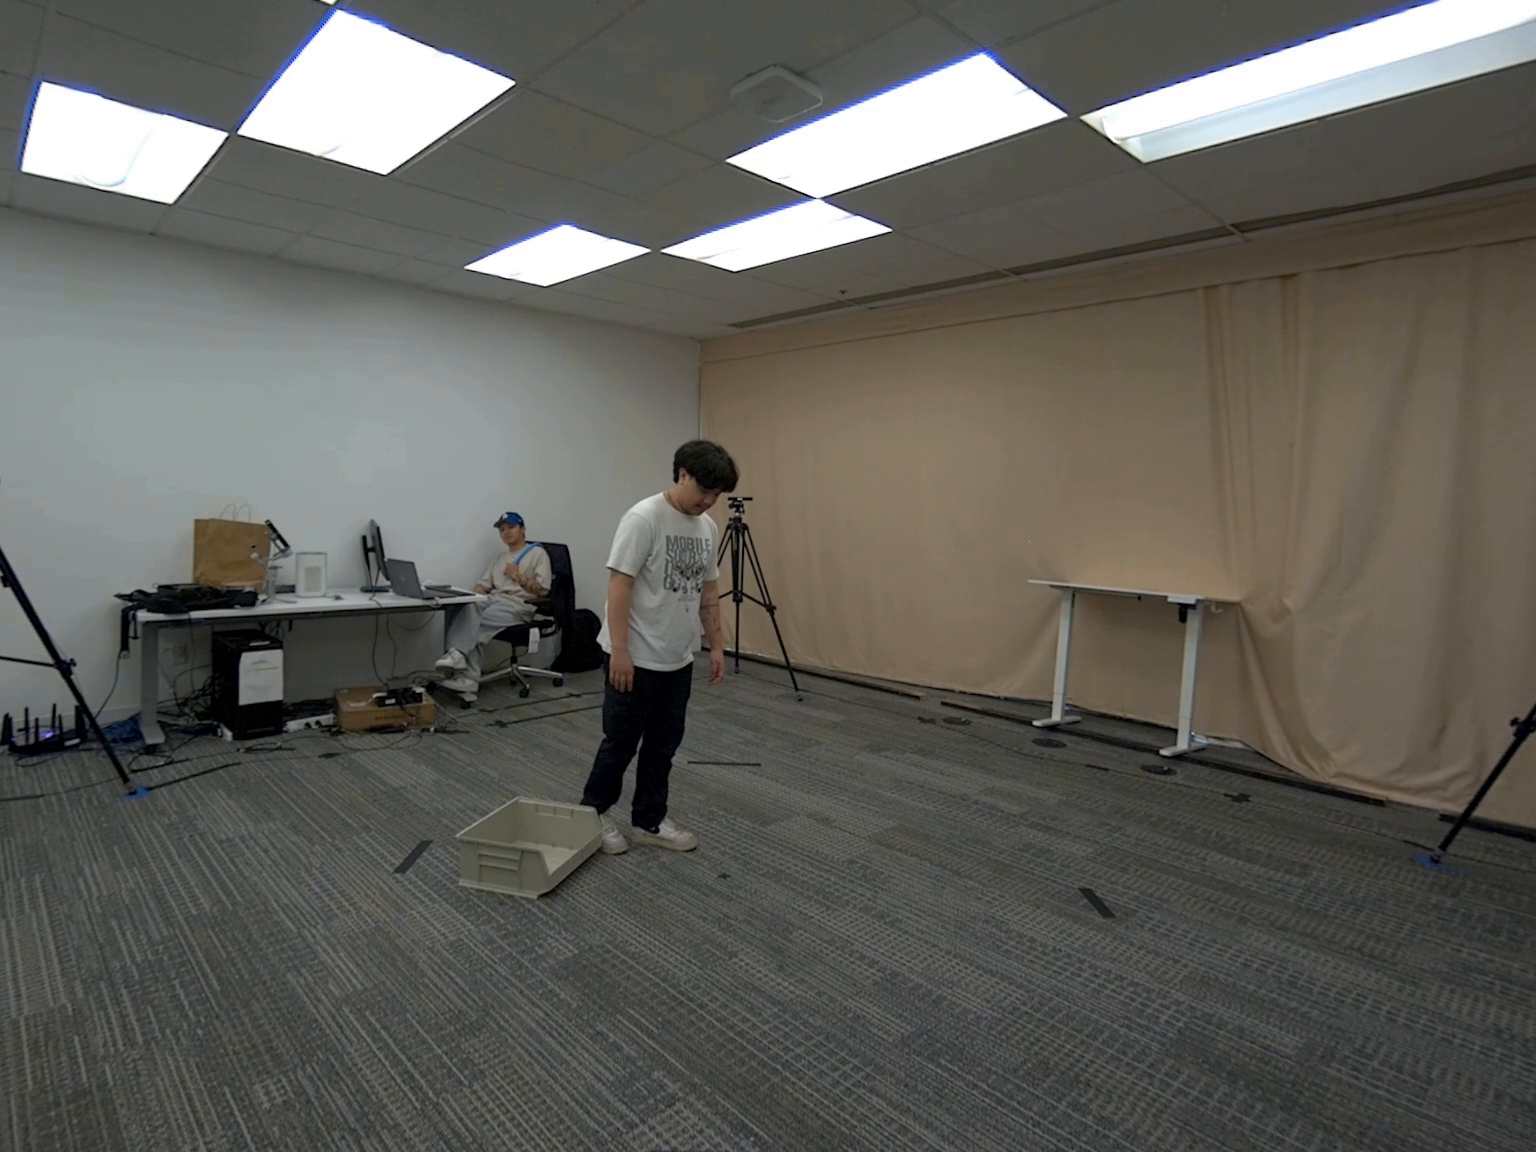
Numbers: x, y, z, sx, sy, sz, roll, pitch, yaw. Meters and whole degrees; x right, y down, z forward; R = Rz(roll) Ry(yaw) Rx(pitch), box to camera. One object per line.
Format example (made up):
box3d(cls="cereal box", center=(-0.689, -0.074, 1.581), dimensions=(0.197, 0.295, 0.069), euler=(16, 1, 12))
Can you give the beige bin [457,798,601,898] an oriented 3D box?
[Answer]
box3d(cls="beige bin", center=(-0.886, 1.002, 3.121), dimensions=(0.382, 0.188, 0.418), euler=(2, 5, 15))
